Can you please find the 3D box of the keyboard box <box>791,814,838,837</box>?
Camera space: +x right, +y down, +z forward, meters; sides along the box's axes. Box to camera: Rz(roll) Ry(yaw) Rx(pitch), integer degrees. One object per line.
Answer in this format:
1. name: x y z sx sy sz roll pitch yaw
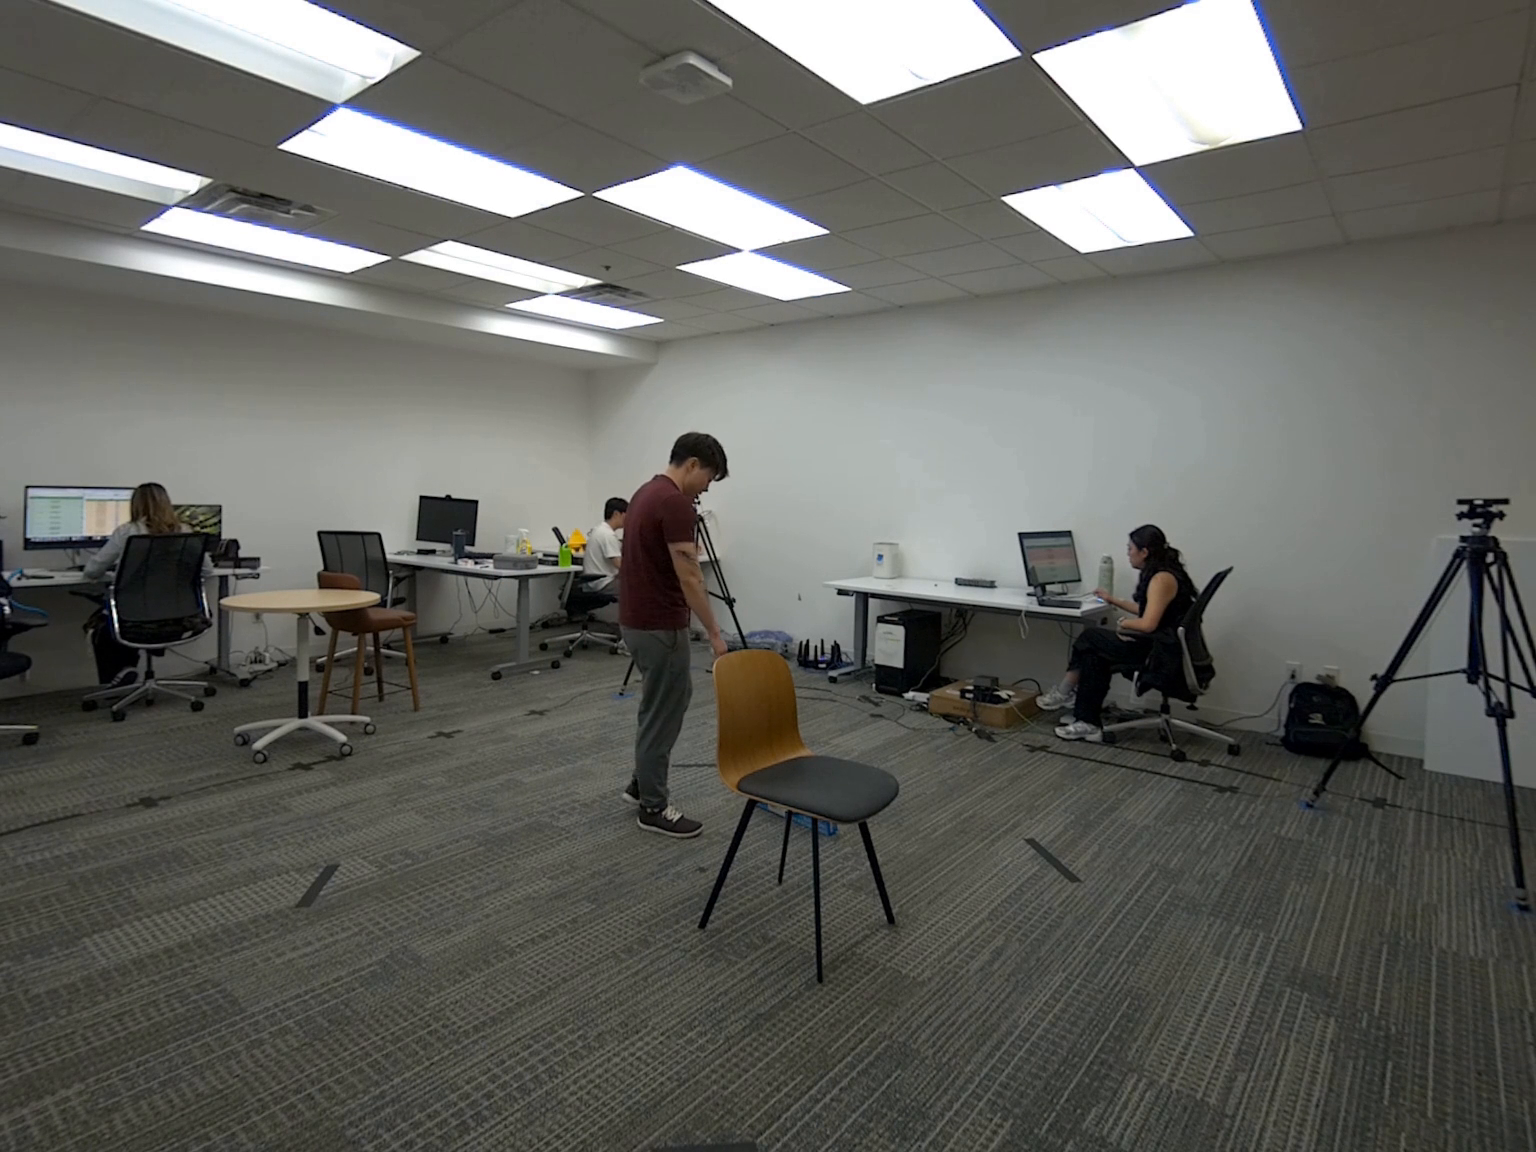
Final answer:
1. keyboard box: 0.101 0.939 3.595 0.057 0.175 0.451 -10 10 -40
